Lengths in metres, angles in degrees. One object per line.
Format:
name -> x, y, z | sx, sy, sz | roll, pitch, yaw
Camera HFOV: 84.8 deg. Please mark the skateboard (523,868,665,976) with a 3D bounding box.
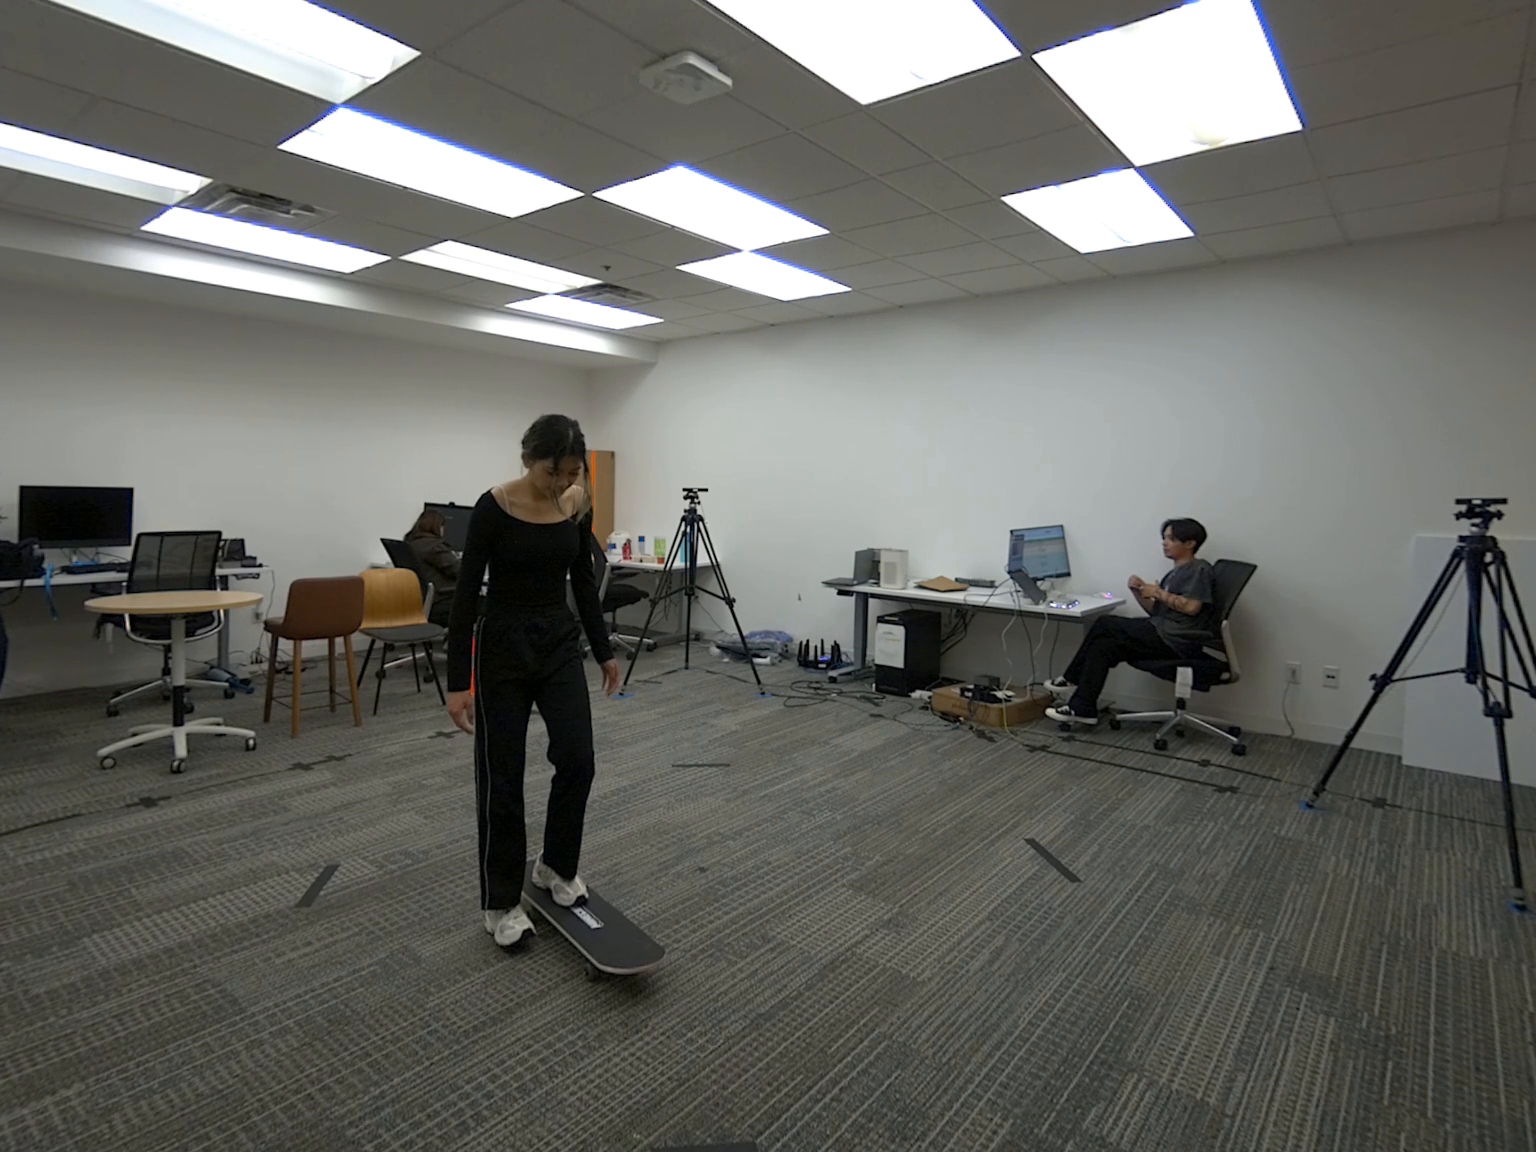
skateboard -> -0.578, 1.058, 2.597 | 0.188, 0.110, 0.811 | -4, 7, -37
